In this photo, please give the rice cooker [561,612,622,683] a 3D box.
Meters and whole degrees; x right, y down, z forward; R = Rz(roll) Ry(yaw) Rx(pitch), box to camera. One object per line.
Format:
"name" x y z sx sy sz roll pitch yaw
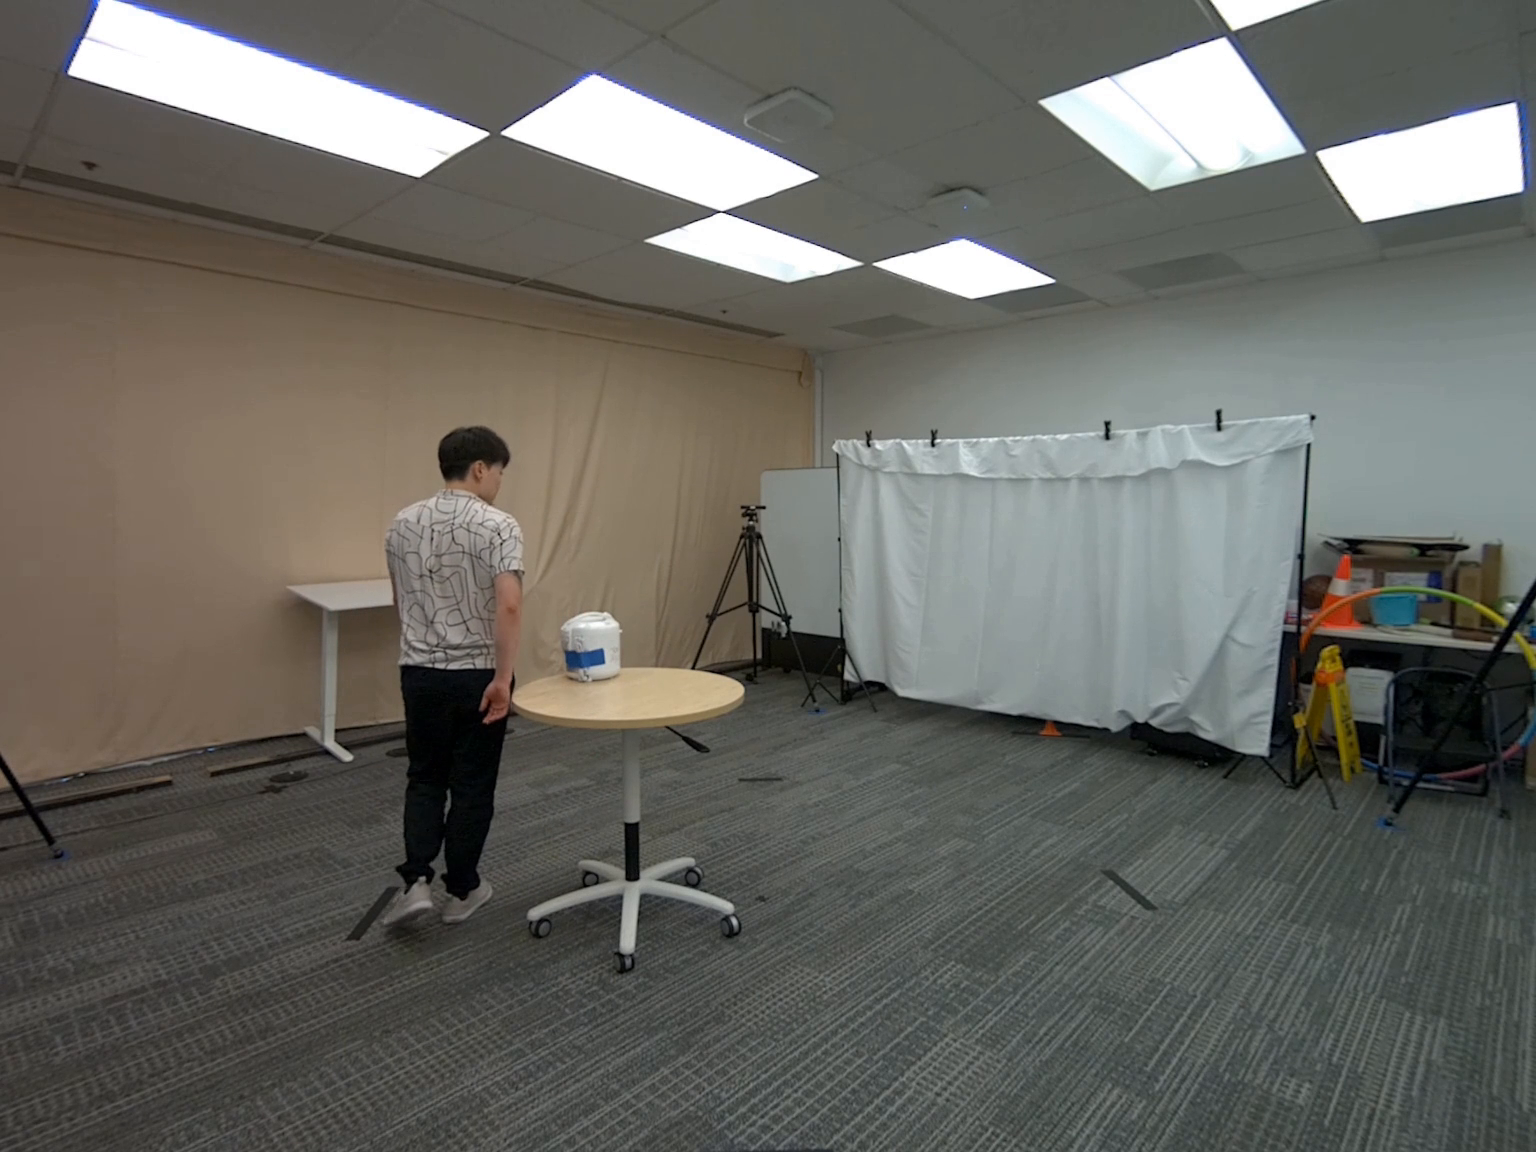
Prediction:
"rice cooker" -0.637 0.246 3.022 0.214 0.232 0.224 -2 4 -38
